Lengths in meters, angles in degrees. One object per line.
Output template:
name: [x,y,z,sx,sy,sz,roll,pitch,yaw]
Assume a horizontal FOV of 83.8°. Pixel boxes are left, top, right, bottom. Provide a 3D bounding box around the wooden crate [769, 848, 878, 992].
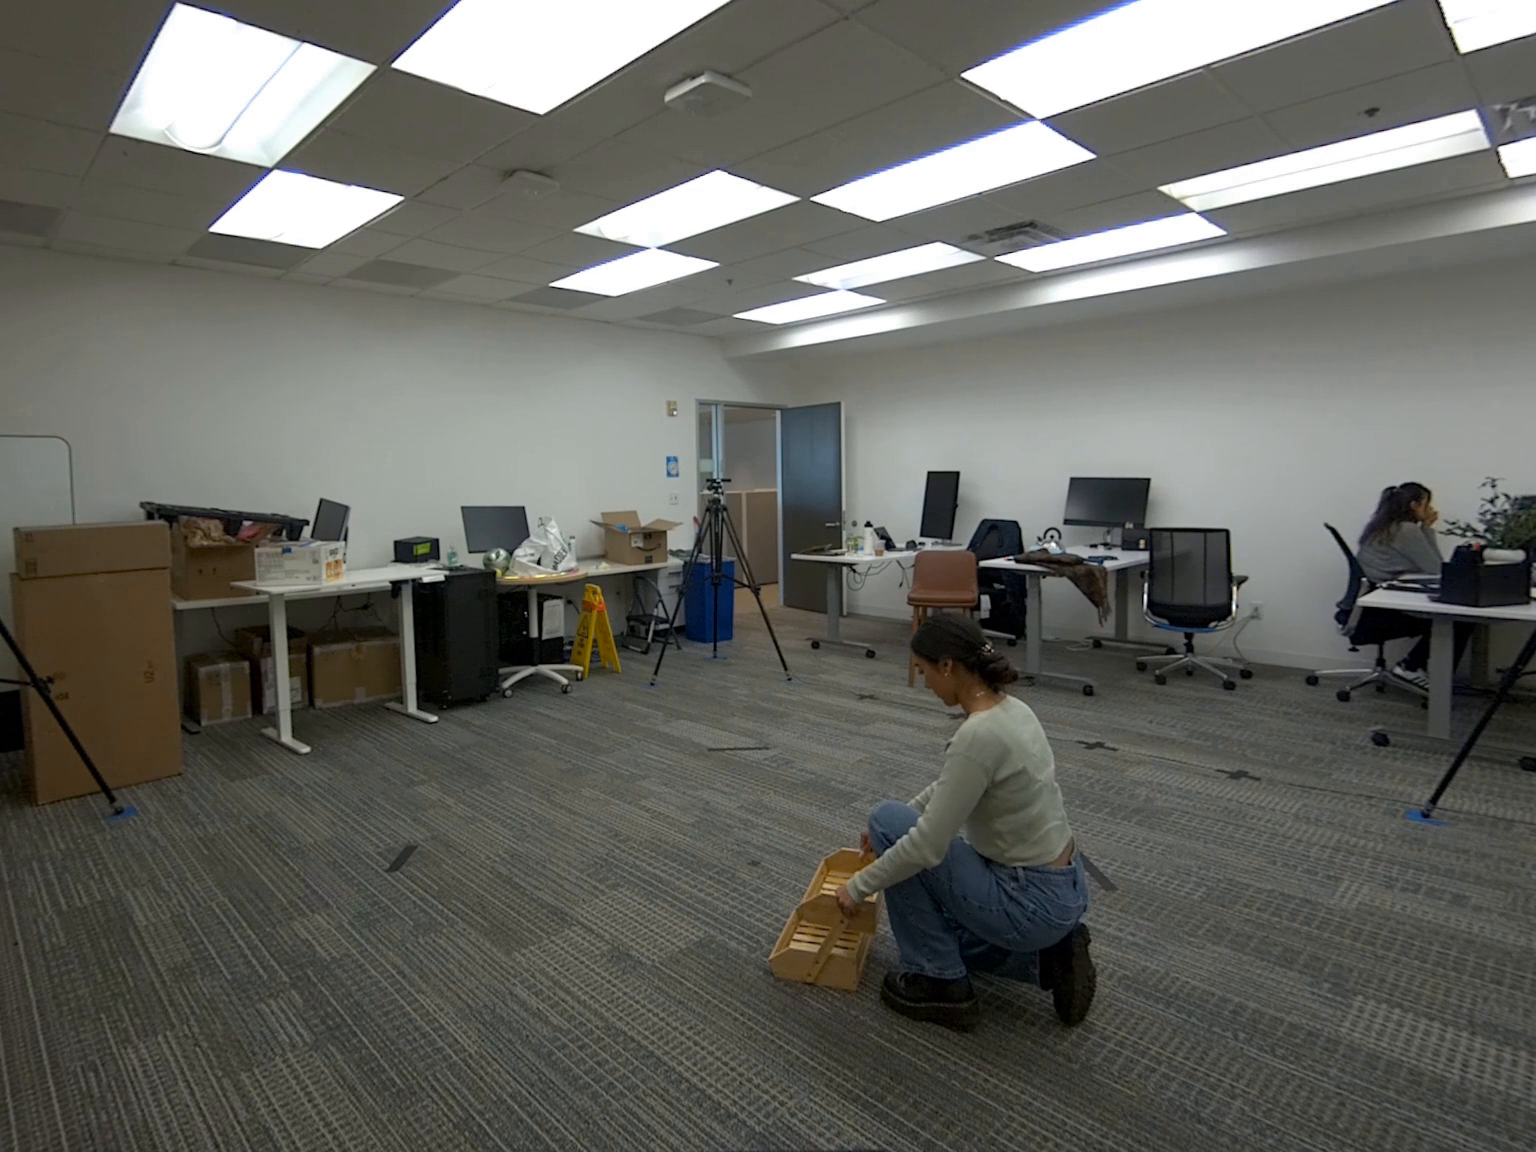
wooden crate: [0.187,0.980,2.483,0.307,0.272,0.320,1,6,17]
